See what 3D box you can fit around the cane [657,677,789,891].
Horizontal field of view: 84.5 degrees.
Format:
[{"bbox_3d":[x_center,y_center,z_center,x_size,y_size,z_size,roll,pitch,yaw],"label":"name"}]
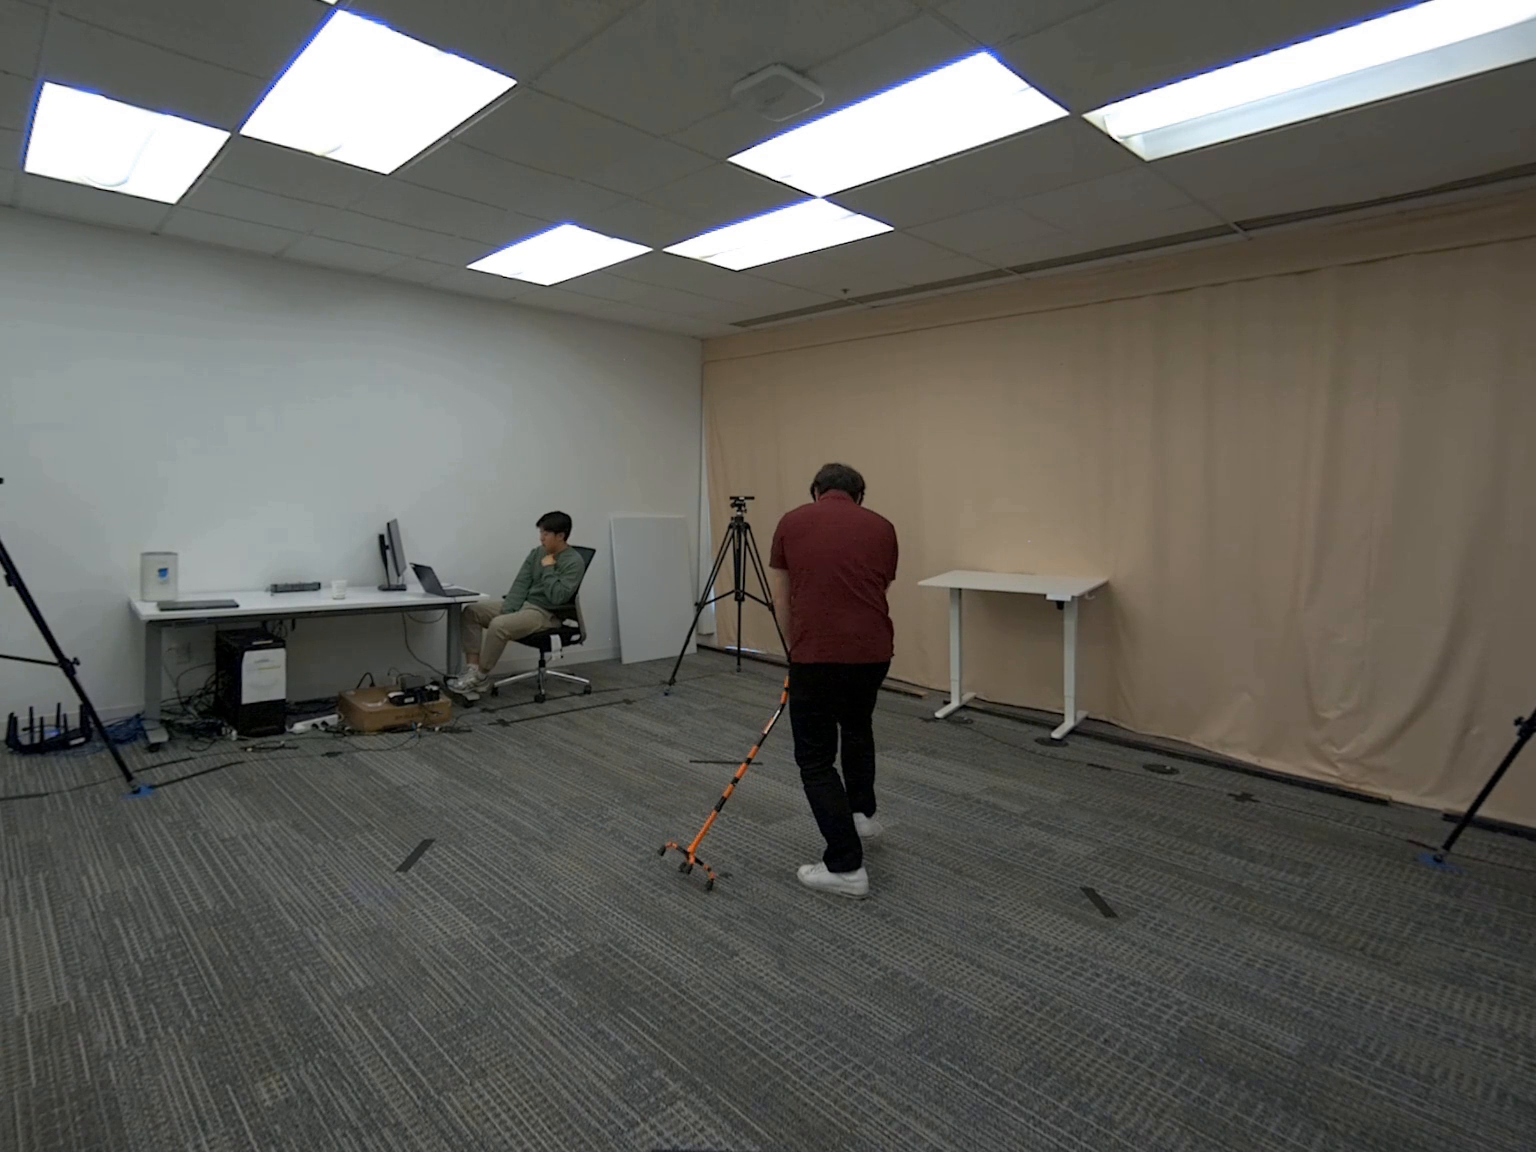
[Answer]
[{"bbox_3d":[-0.072,0.707,3.178,0.211,0.911,0.147,6,-34,51],"label":"cane"}]
